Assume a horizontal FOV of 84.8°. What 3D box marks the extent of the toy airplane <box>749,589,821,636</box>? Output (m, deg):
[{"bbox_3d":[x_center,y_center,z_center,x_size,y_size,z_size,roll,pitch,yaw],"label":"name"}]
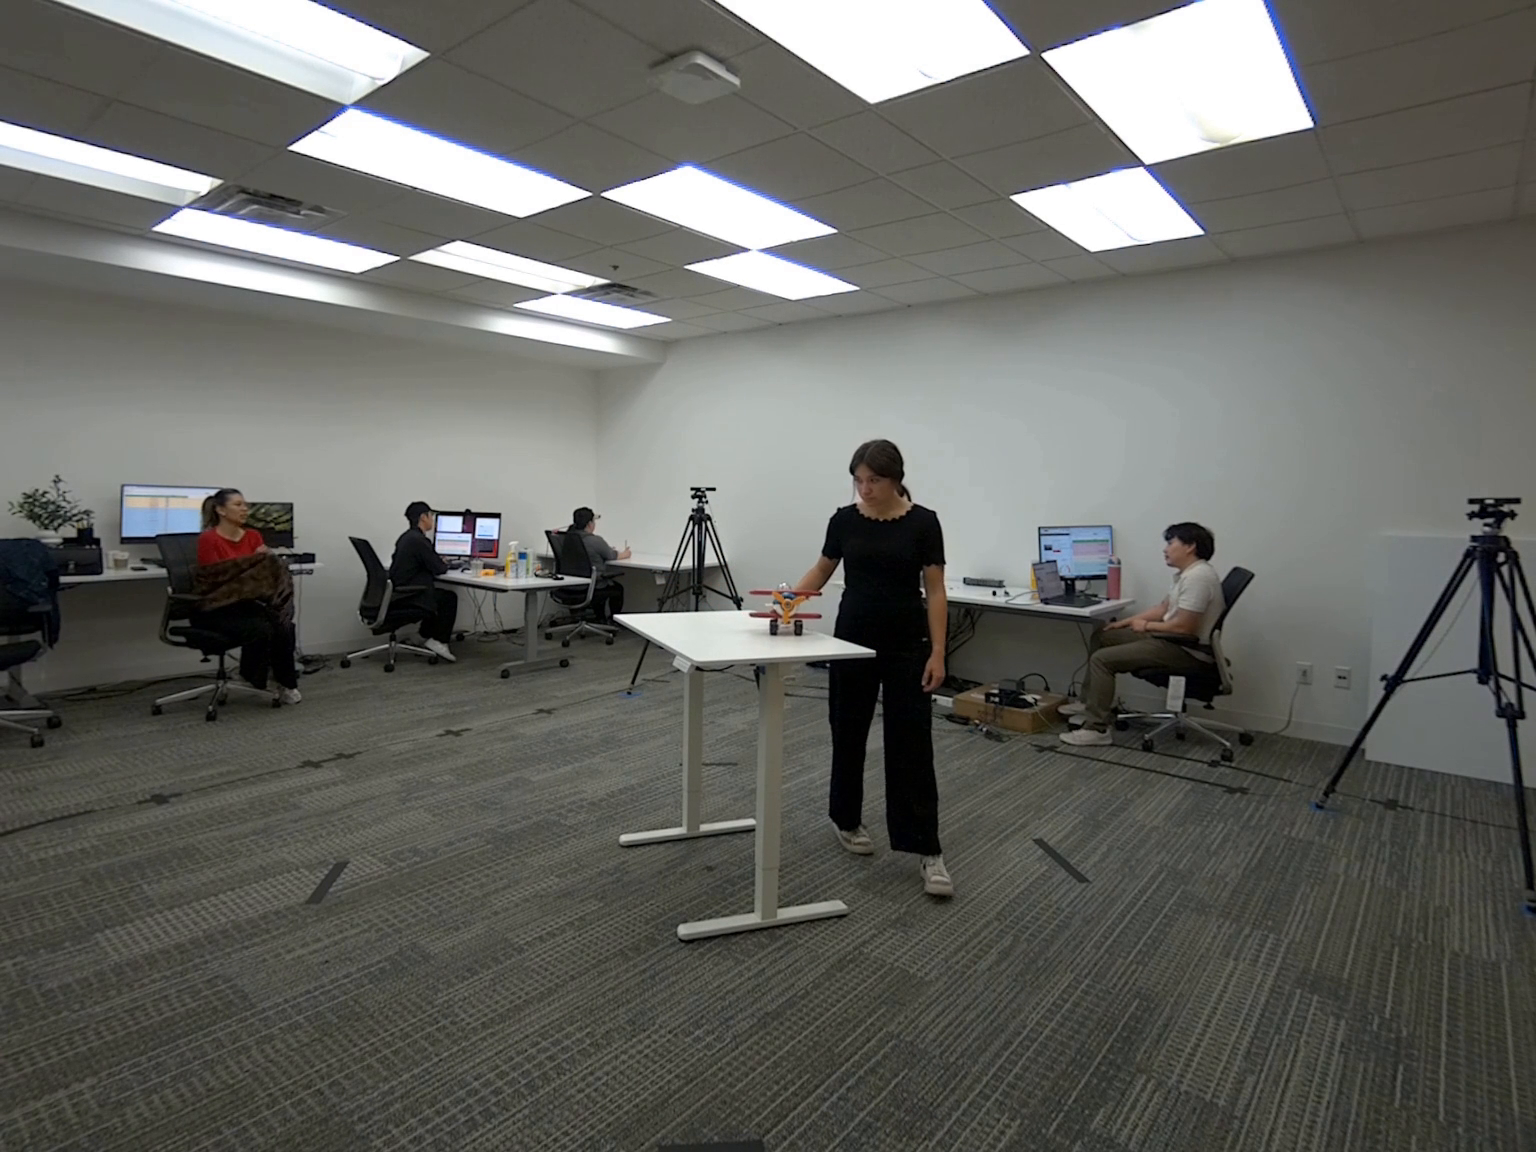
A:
[{"bbox_3d":[0.028,0.108,3.031,0.245,0.155,0.268,-6,13,-28],"label":"toy airplane"}]
